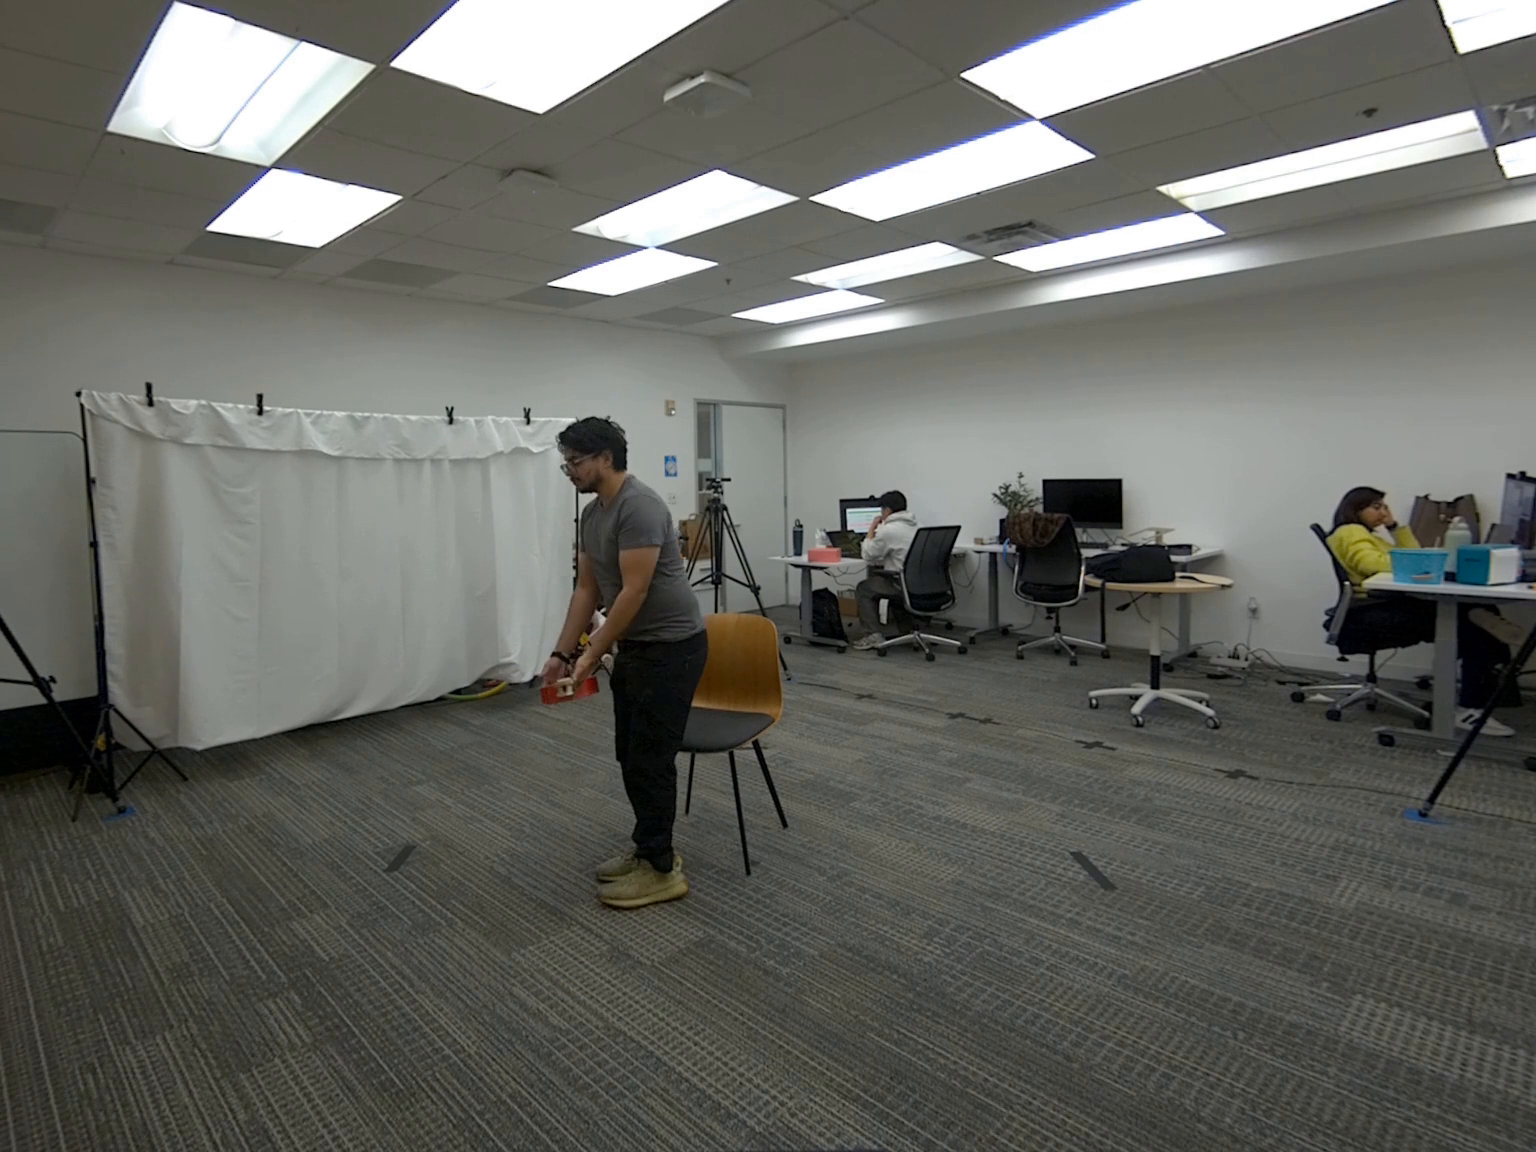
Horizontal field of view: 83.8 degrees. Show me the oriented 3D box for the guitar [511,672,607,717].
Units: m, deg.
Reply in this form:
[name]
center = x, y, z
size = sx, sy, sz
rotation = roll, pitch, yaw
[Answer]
[guitar]
center = -0.648, 0.366, 2.702
size = 0.193, 0.071, 0.495
rotation = -11, -4, -3
